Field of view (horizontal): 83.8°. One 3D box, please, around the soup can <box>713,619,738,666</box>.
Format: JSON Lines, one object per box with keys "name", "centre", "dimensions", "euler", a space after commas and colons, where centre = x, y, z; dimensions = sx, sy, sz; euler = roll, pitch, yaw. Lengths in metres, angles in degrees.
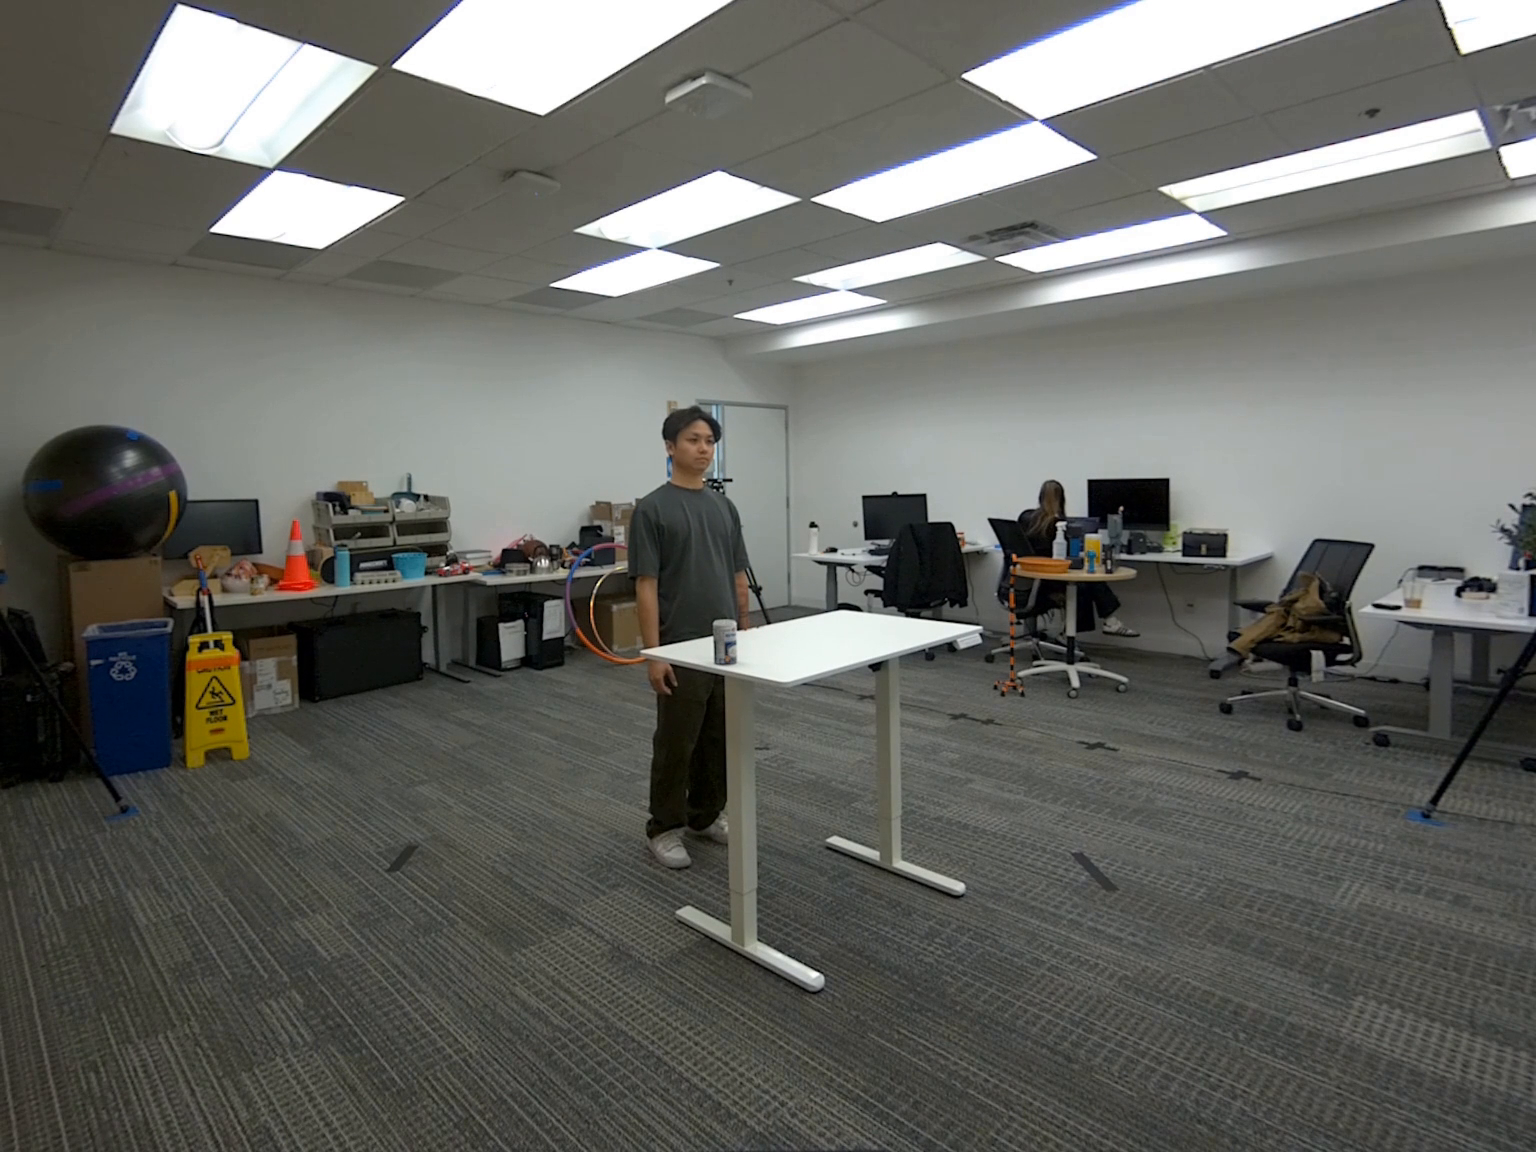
{"name": "soup can", "centre": [-0.121, 0.192, 2.411], "dimensions": [0.067, 0.121, 0.067], "euler": [3, 5, -2]}
